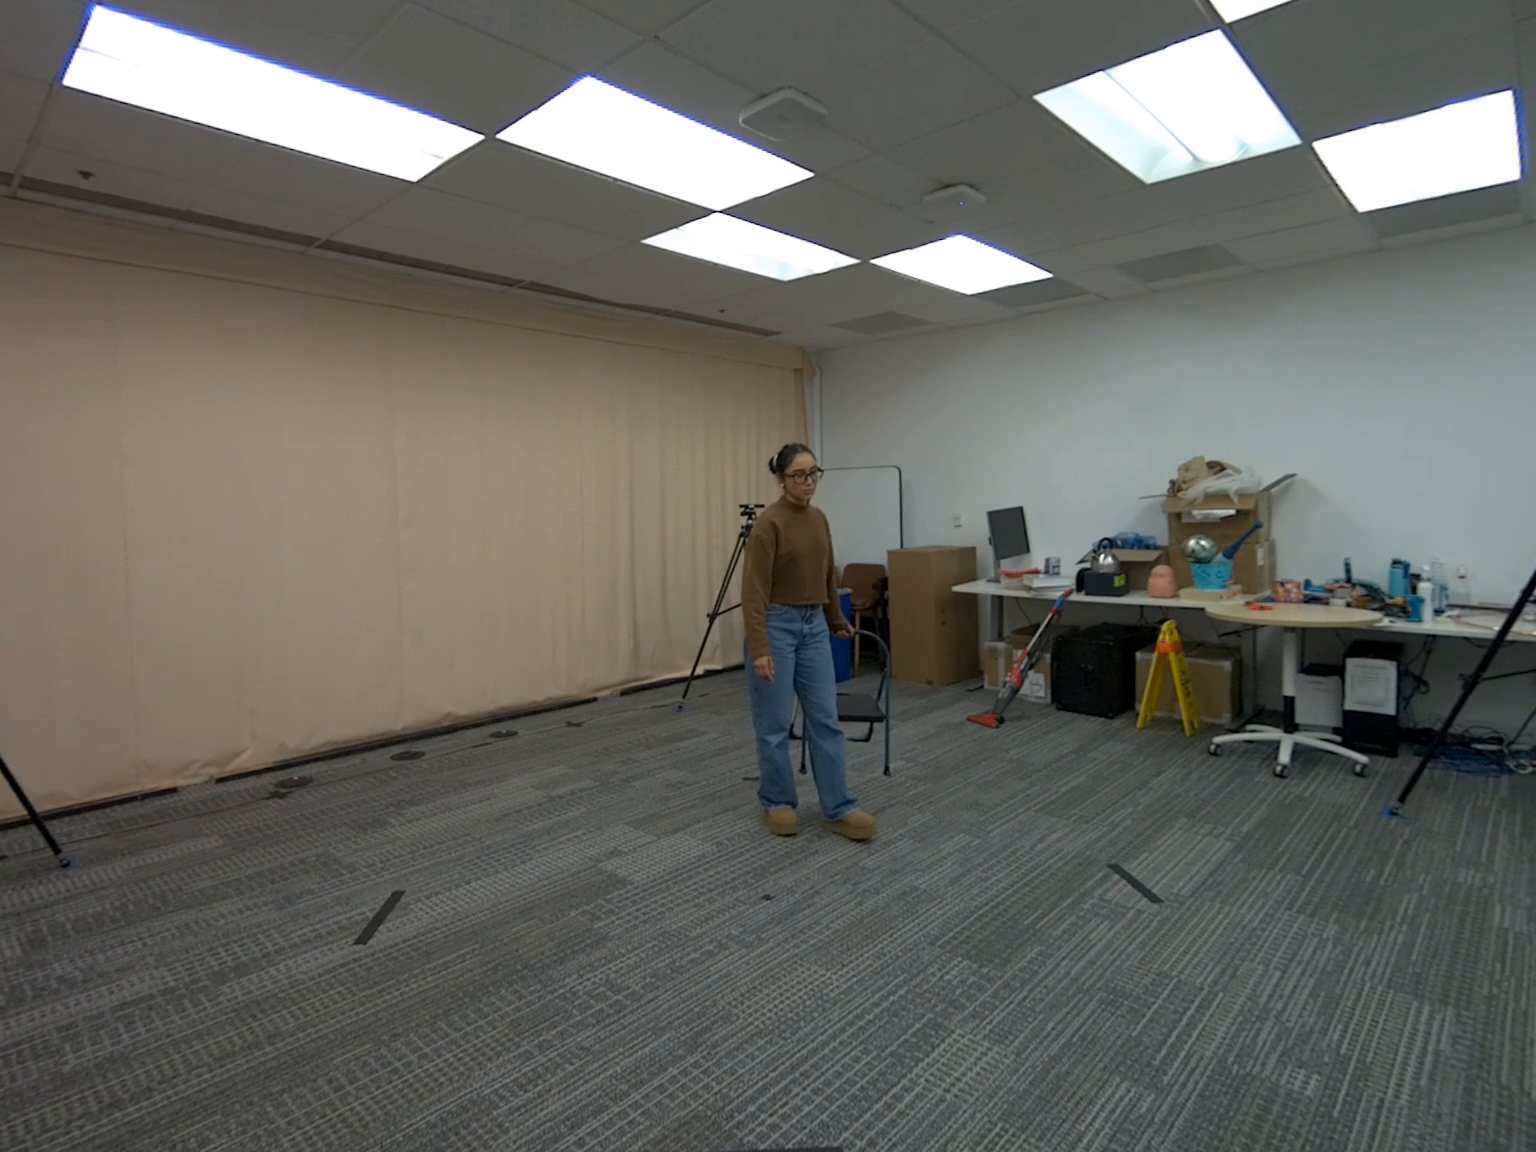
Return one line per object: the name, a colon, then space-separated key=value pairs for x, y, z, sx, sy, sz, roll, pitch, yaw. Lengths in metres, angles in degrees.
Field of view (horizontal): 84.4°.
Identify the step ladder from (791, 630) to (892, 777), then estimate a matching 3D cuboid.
step ladder: x=0.371 y=0.572 z=3.920 sx=0.426 sy=0.602 sz=0.356 roll=4 pitch=15 yaw=-10
